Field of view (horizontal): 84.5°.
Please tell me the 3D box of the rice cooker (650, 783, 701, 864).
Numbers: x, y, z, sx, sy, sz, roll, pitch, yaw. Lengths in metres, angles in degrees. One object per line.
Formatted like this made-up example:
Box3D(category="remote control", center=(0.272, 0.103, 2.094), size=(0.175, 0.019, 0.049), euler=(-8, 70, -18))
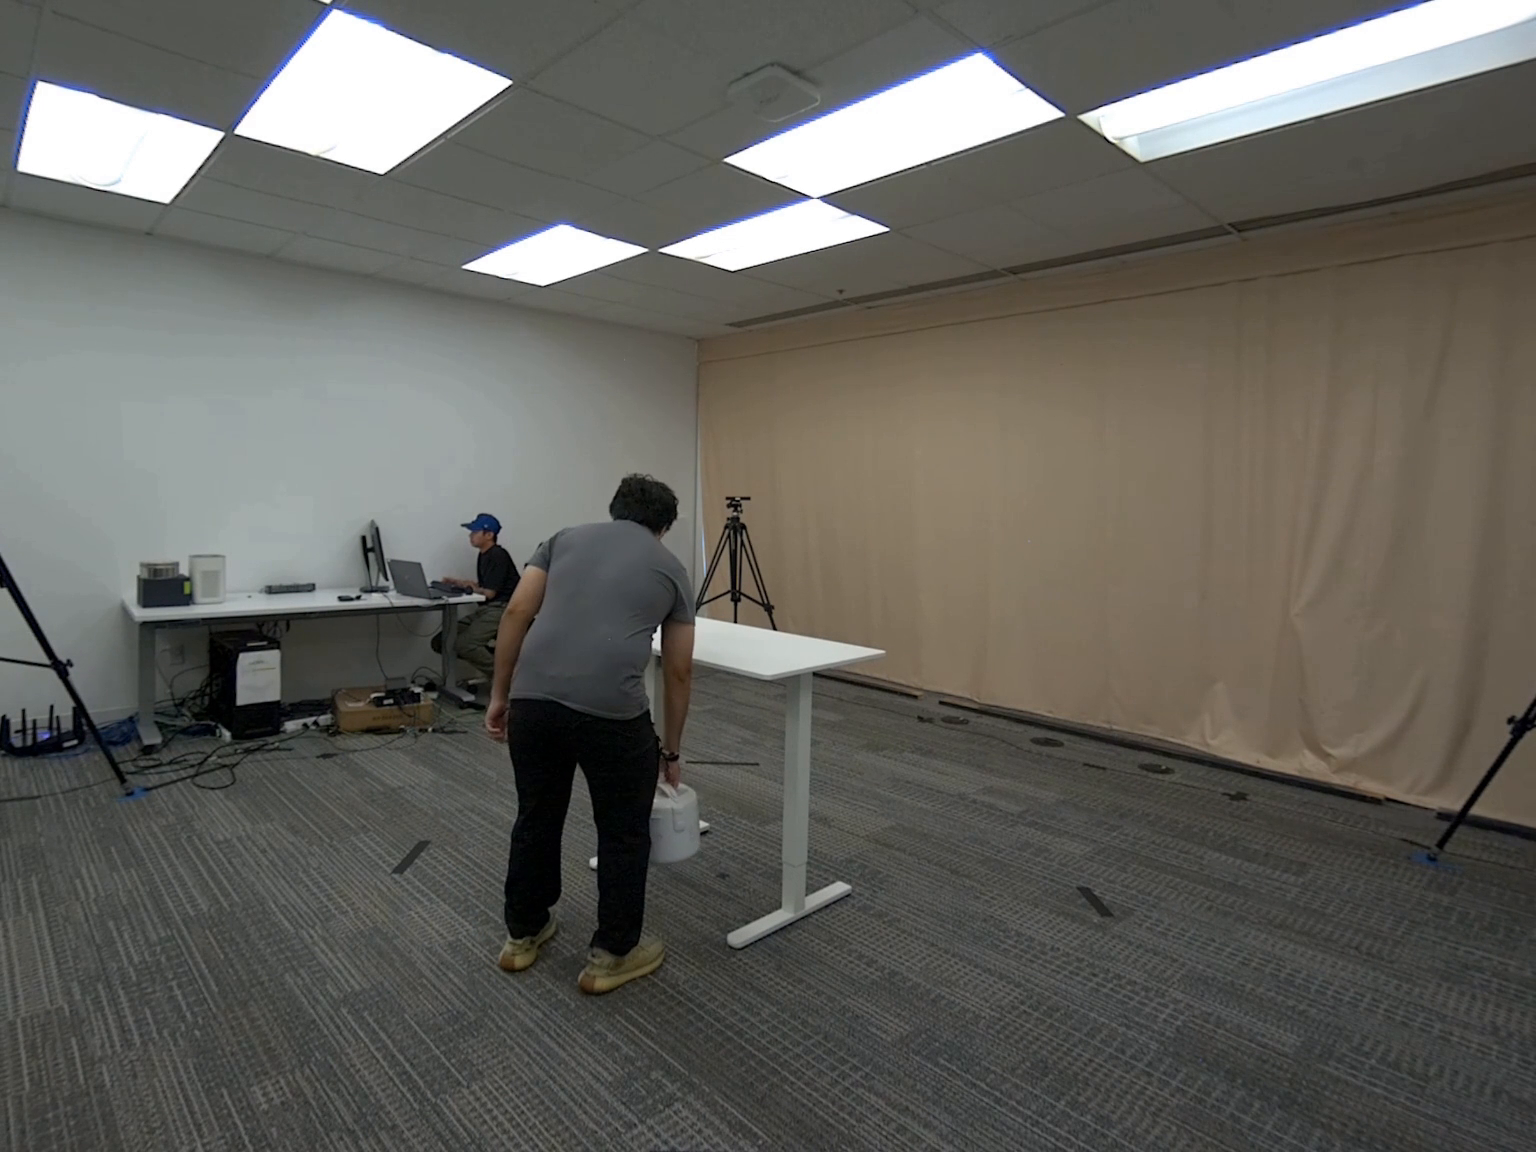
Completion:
Box3D(category="rice cooker", center=(-0.329, 0.762, 2.634), size=(0.213, 0.232, 0.225), euler=(-5, 5, -30))
